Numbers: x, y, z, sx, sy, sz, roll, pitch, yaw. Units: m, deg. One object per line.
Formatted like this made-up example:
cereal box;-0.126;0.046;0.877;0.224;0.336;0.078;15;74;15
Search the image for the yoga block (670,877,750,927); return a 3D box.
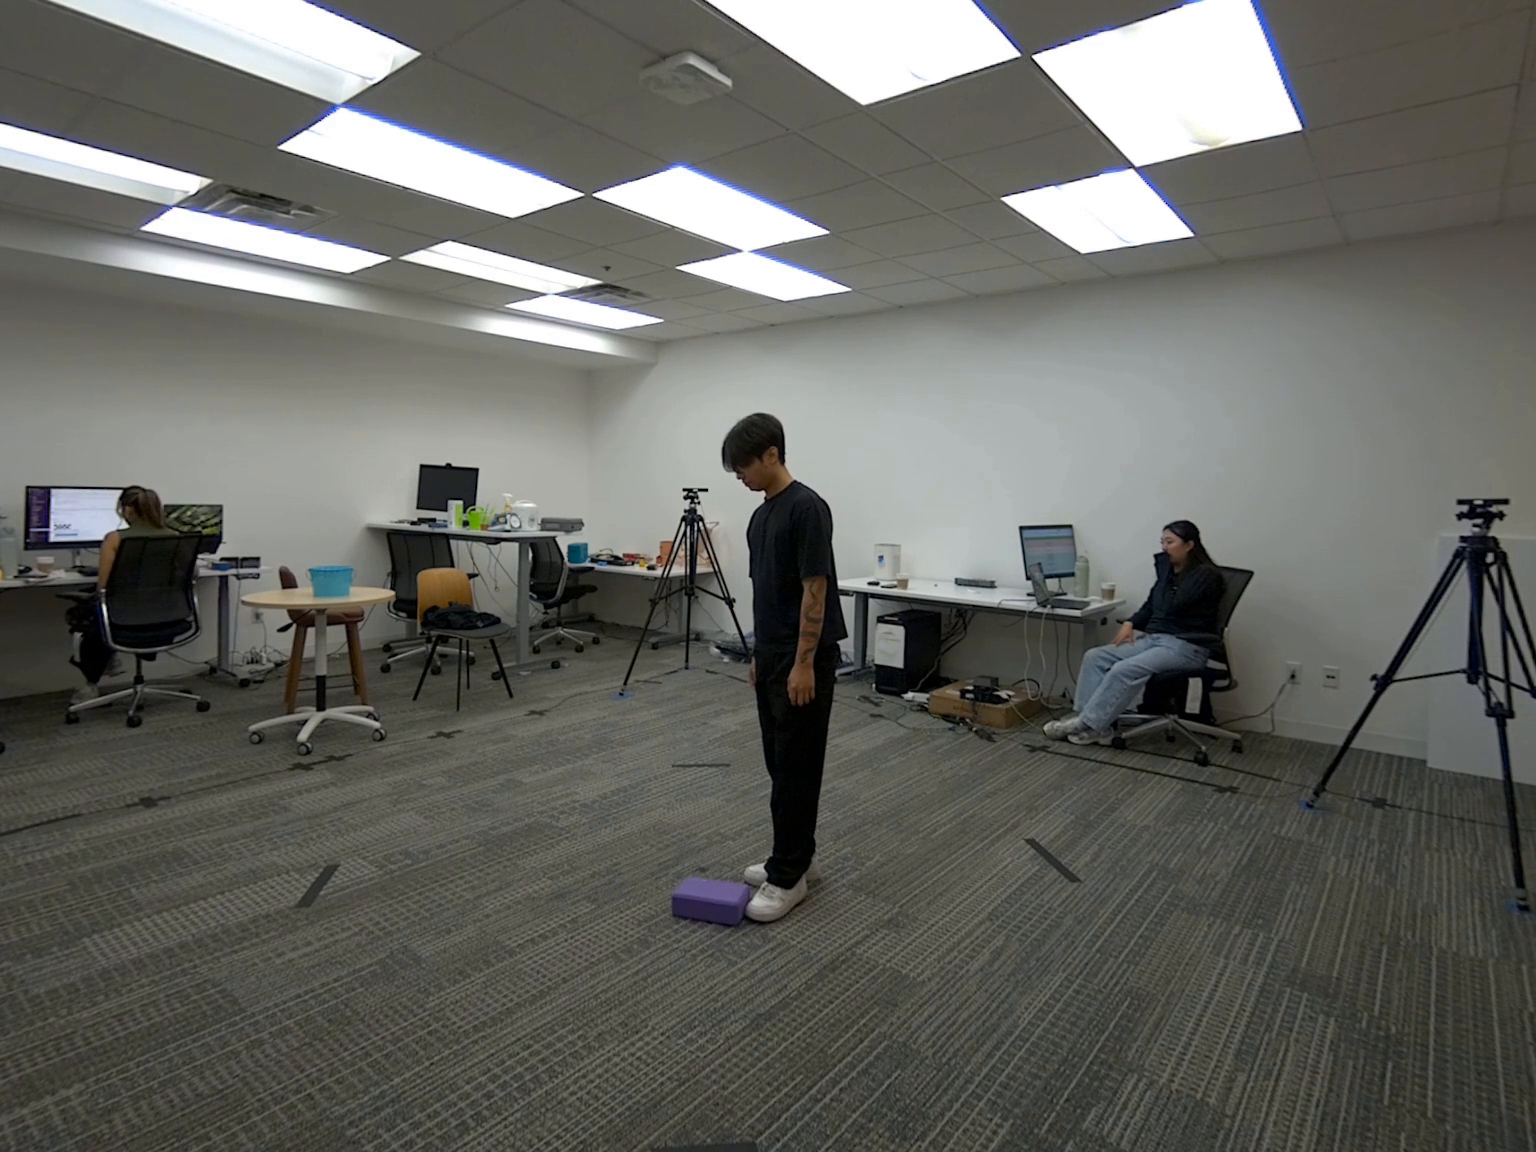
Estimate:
yoga block;-0.193;1.058;2.792;0.234;0.076;0.146;2;5;18
